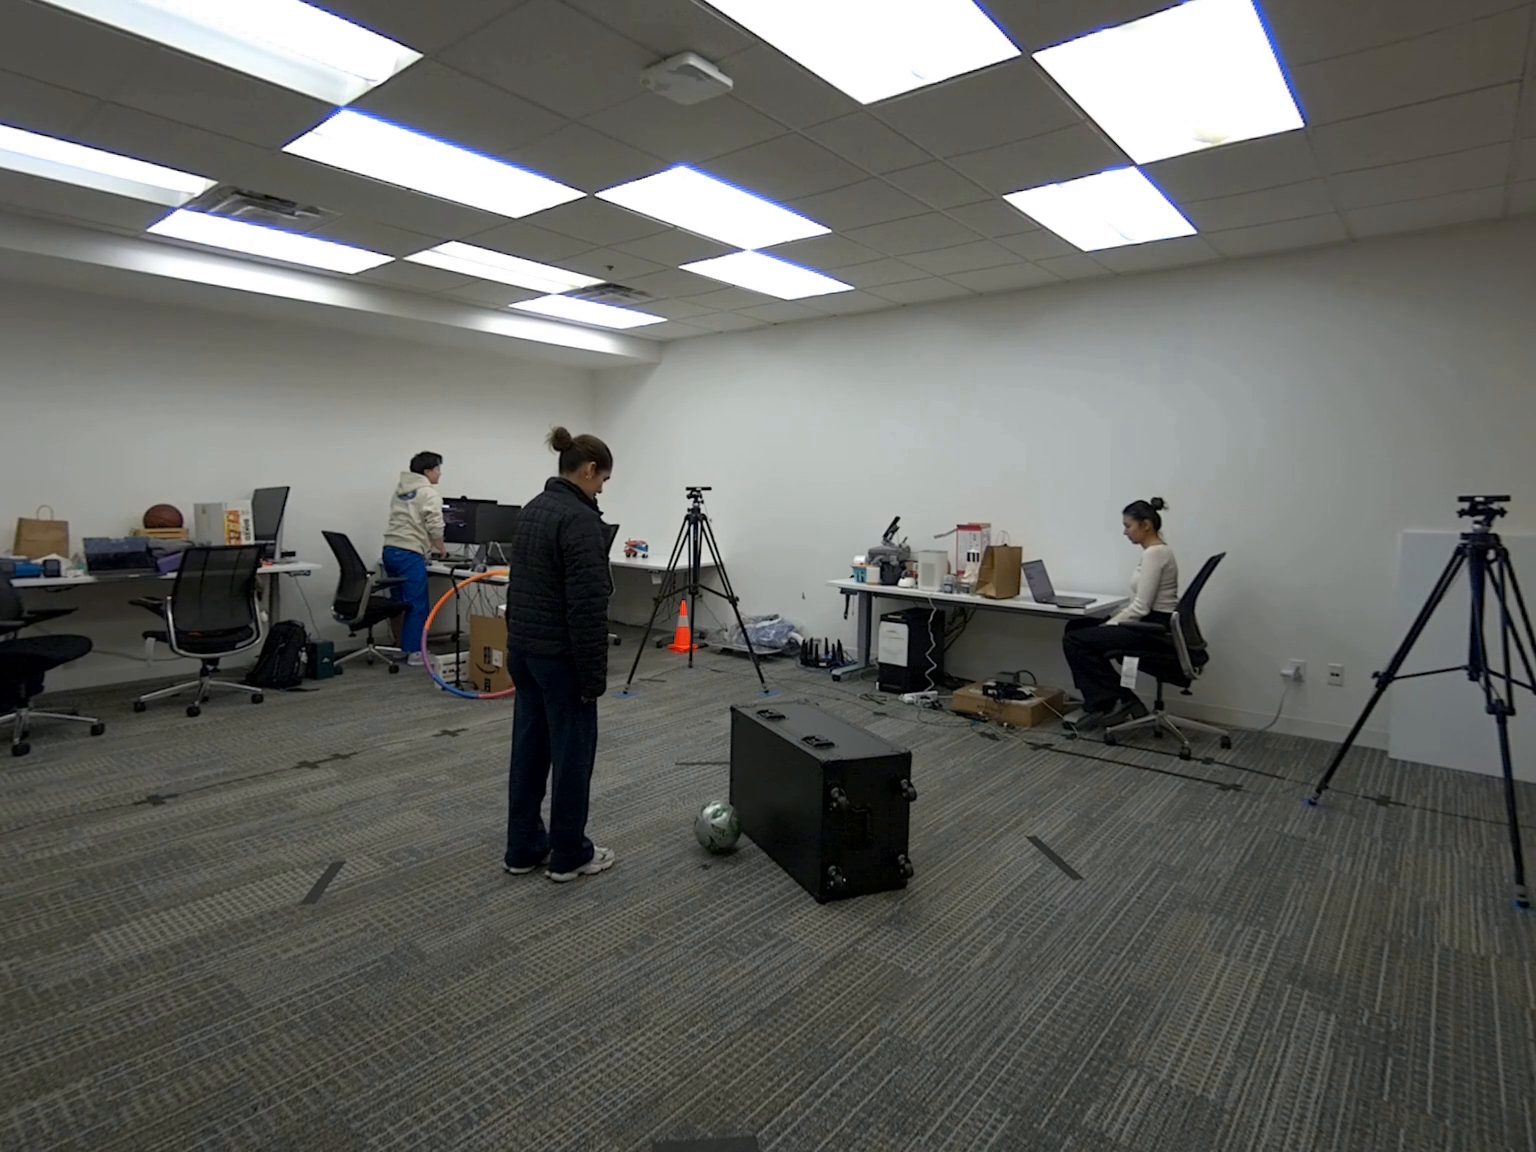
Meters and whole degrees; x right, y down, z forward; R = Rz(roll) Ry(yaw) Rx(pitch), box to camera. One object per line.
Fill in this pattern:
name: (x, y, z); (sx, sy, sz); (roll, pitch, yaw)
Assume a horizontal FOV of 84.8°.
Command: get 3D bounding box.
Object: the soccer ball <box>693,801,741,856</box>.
soccer ball: (-0.202, 0.960, 3.258); (0.187, 0.187, 0.188); (1, 4, -2)
